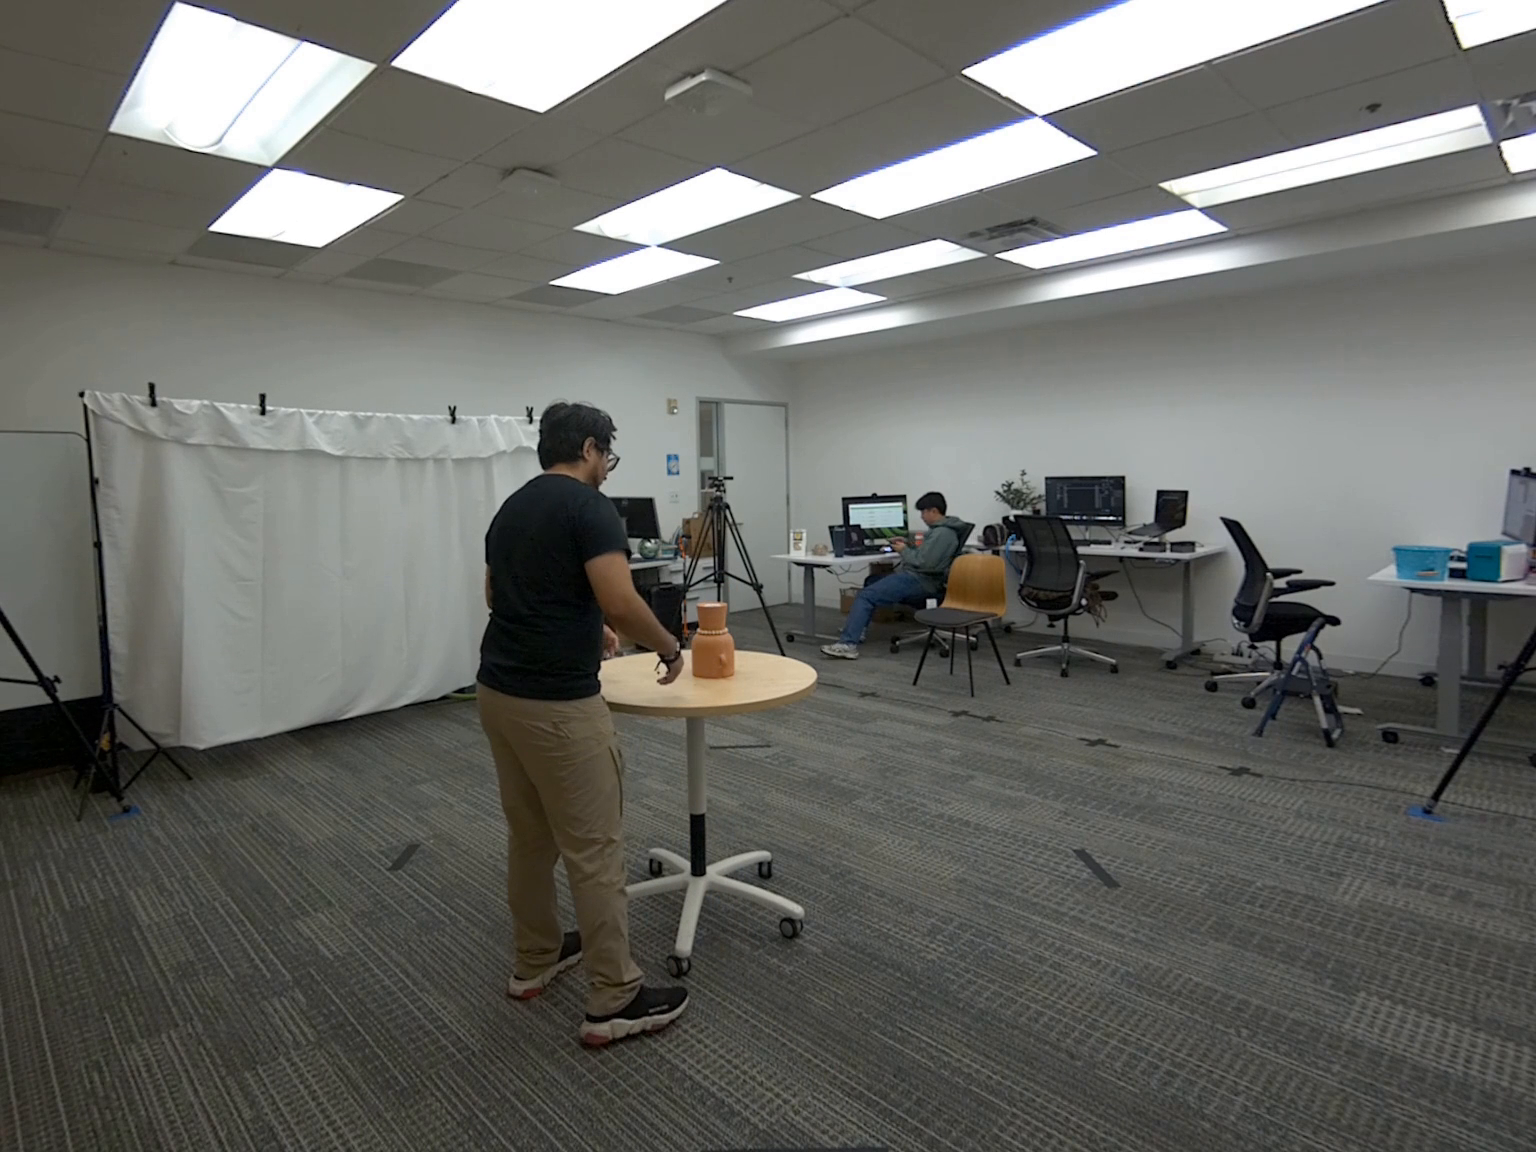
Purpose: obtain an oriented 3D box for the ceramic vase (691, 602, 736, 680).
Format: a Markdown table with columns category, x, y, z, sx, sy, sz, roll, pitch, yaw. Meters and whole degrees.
| category | x | y | z | sx | sy | sz | roll | pitch | yaw |
| --- | --- | --- | --- | --- | --- | --- | --- | --- | --- |
| ceramic vase | -0.170 | 0.200 | 2.668 | 0.163 | 0.219 | 0.132 | 1 | 5 | 28 |
